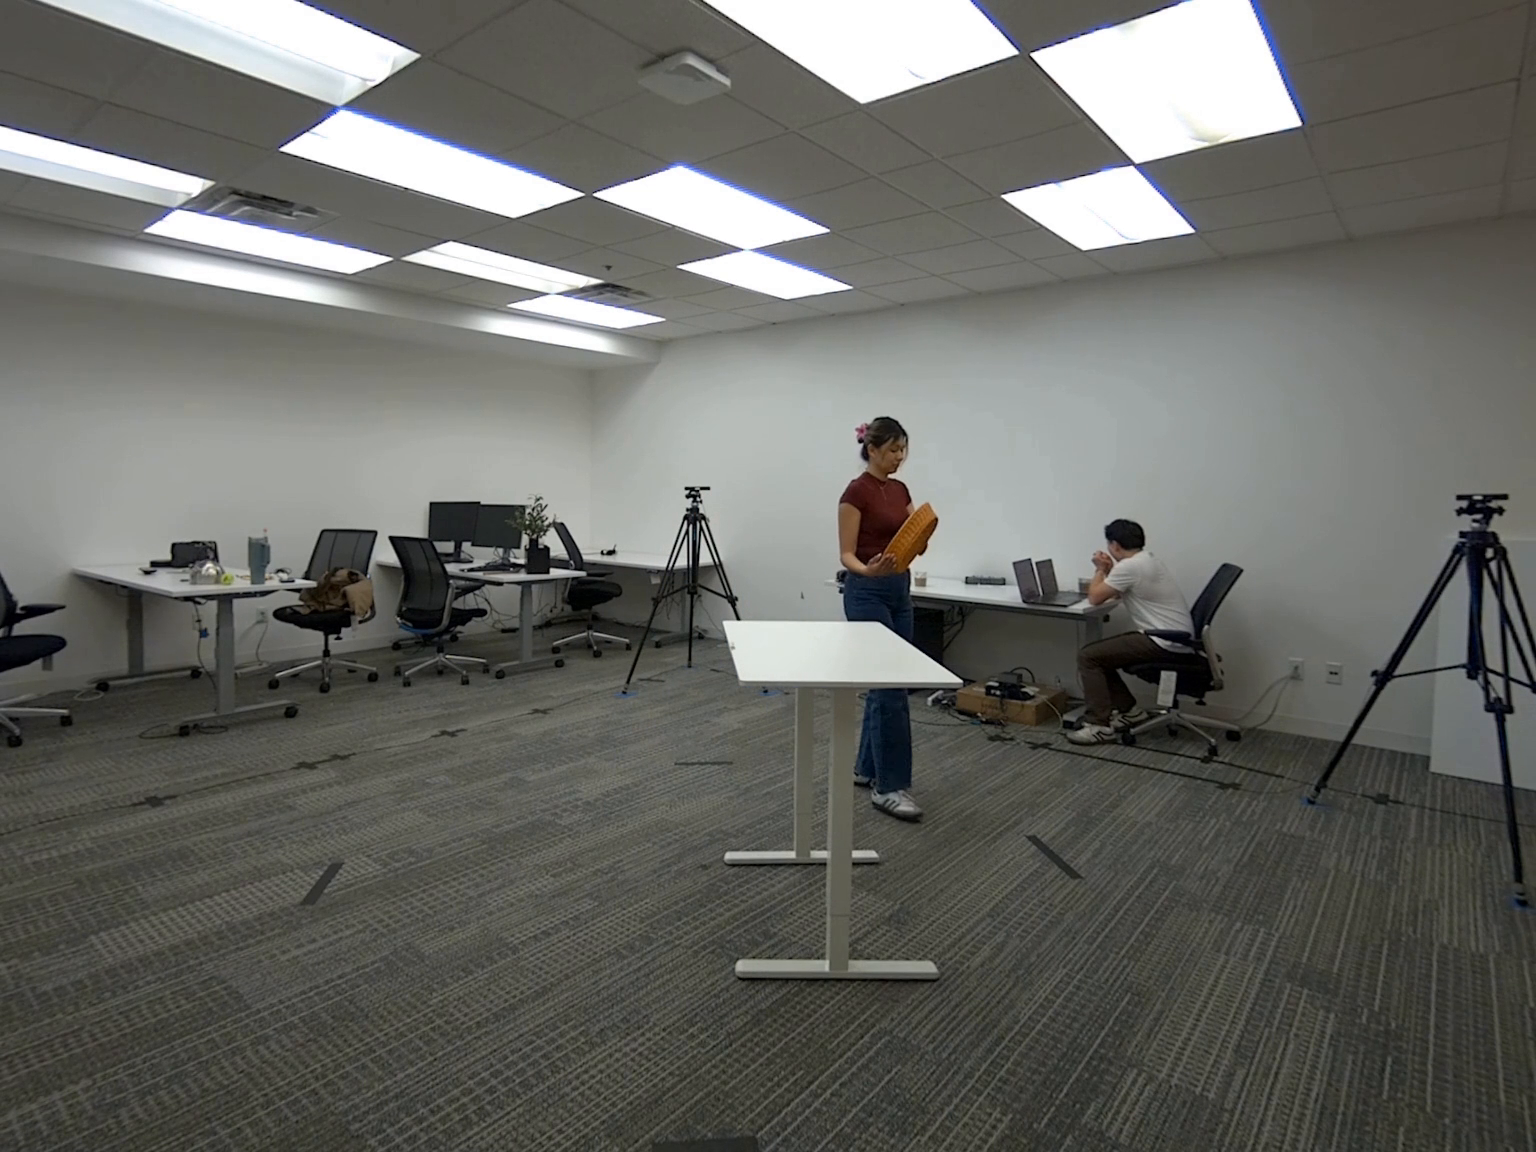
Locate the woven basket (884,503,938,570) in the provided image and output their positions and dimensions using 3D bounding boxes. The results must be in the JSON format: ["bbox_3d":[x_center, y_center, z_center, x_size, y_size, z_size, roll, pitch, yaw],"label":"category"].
[{"bbox_3d":[0.593,-0.146,3.529,0.076,0.350,0.245,37,1,21],"label":"woven basket"}]
